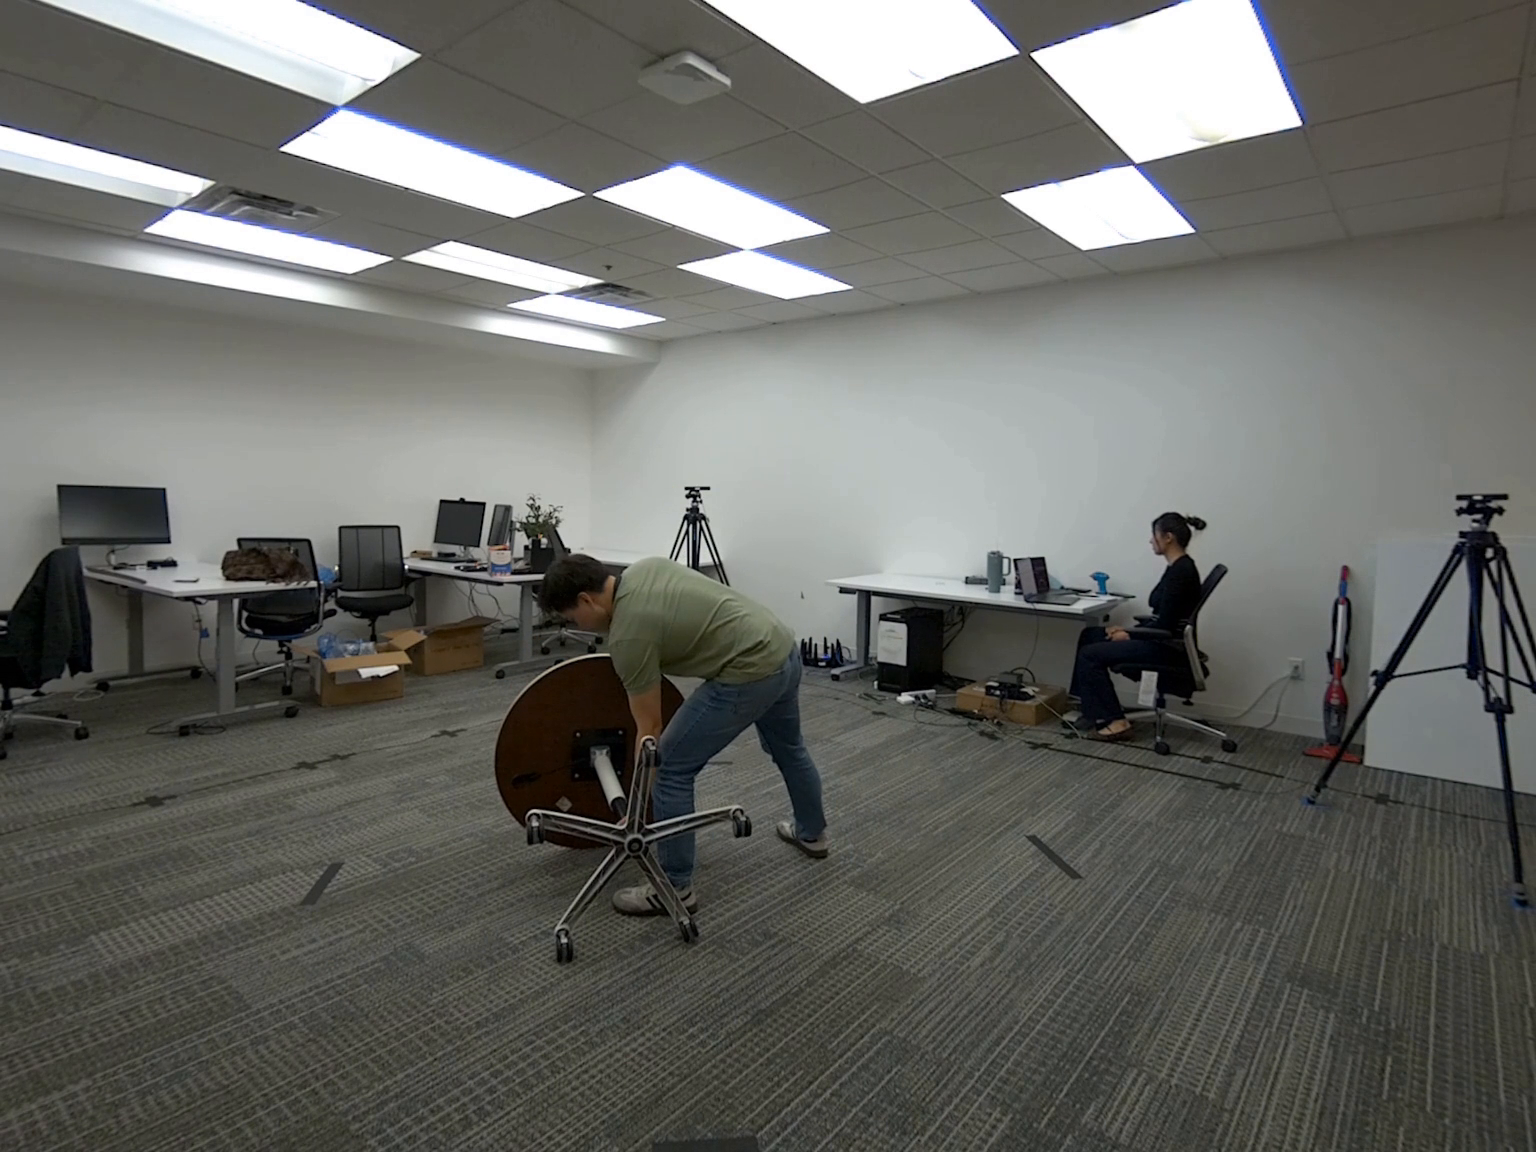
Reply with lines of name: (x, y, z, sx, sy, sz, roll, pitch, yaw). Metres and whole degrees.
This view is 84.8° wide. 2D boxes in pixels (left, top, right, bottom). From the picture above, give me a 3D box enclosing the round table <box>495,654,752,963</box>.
round table: (-0.519, 0.749, 2.860, 0.749, 0.757, 0.817, -1, 11, -20)
